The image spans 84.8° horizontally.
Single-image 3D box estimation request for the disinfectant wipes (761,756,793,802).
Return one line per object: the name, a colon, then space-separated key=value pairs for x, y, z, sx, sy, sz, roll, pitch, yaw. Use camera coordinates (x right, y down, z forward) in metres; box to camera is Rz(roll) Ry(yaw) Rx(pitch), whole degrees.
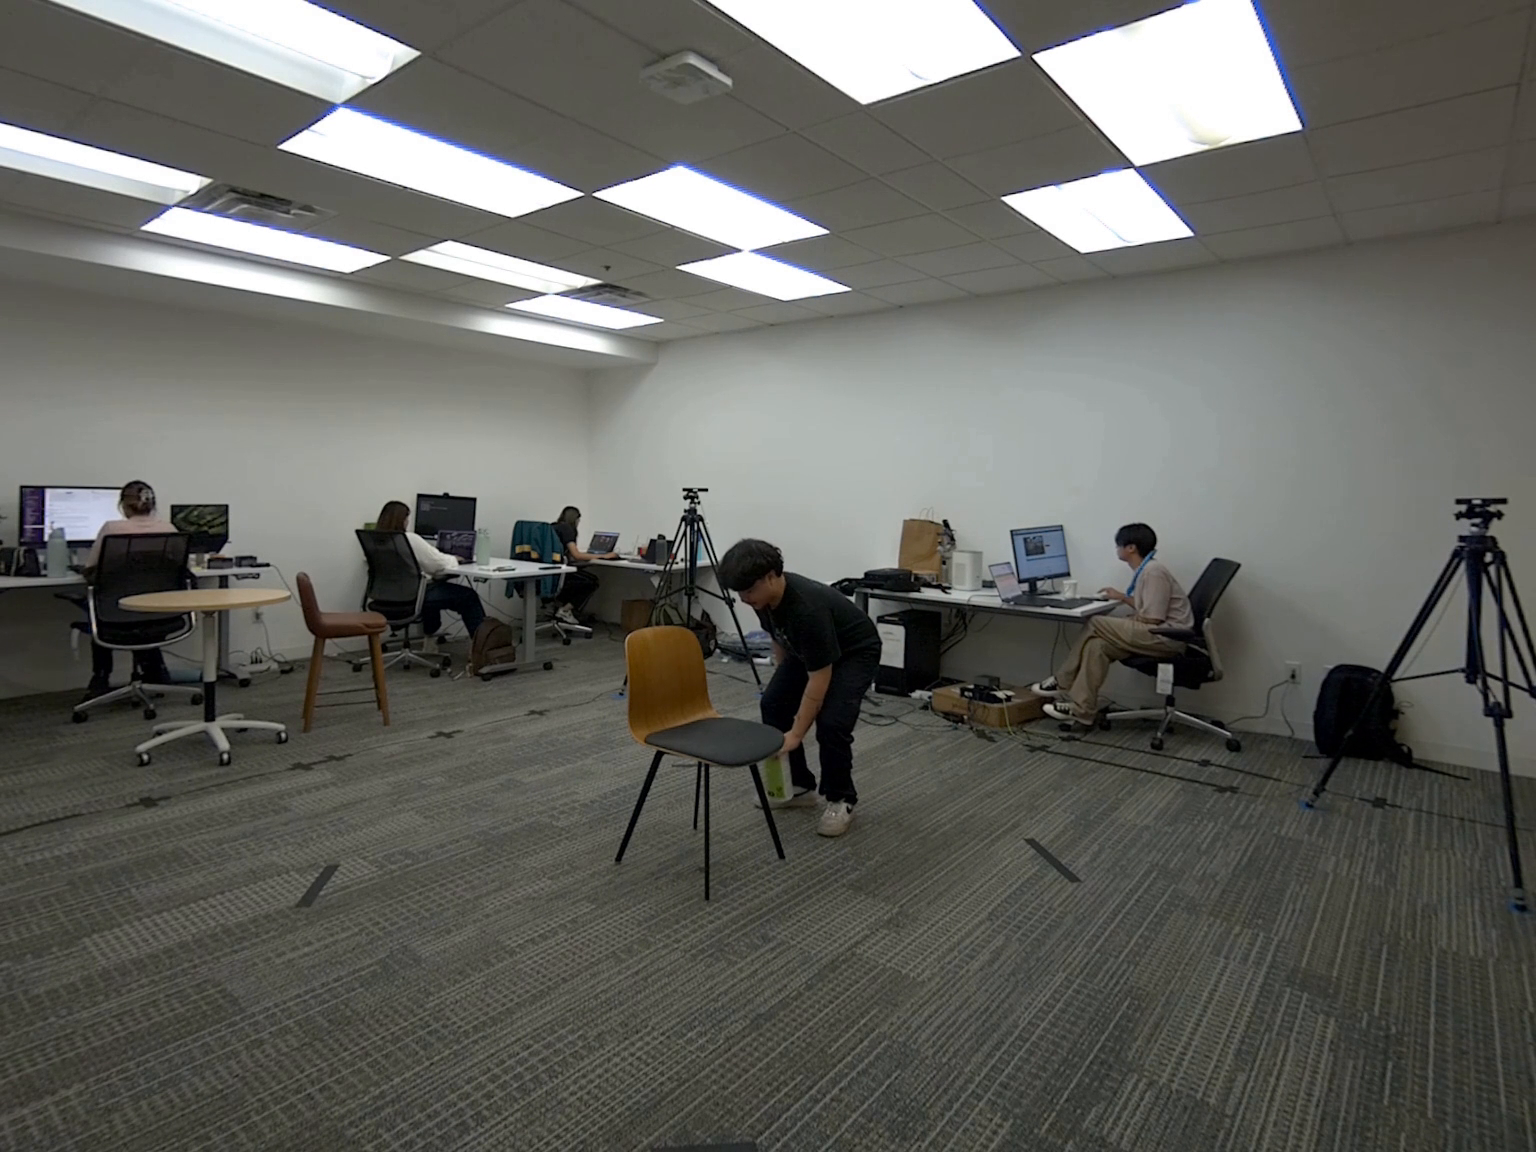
disinfectant wipes: x=0.025 y=0.802 z=3.480 sx=0.118 sy=0.216 sz=0.119 roll=-6 pitch=8 yaw=-1
